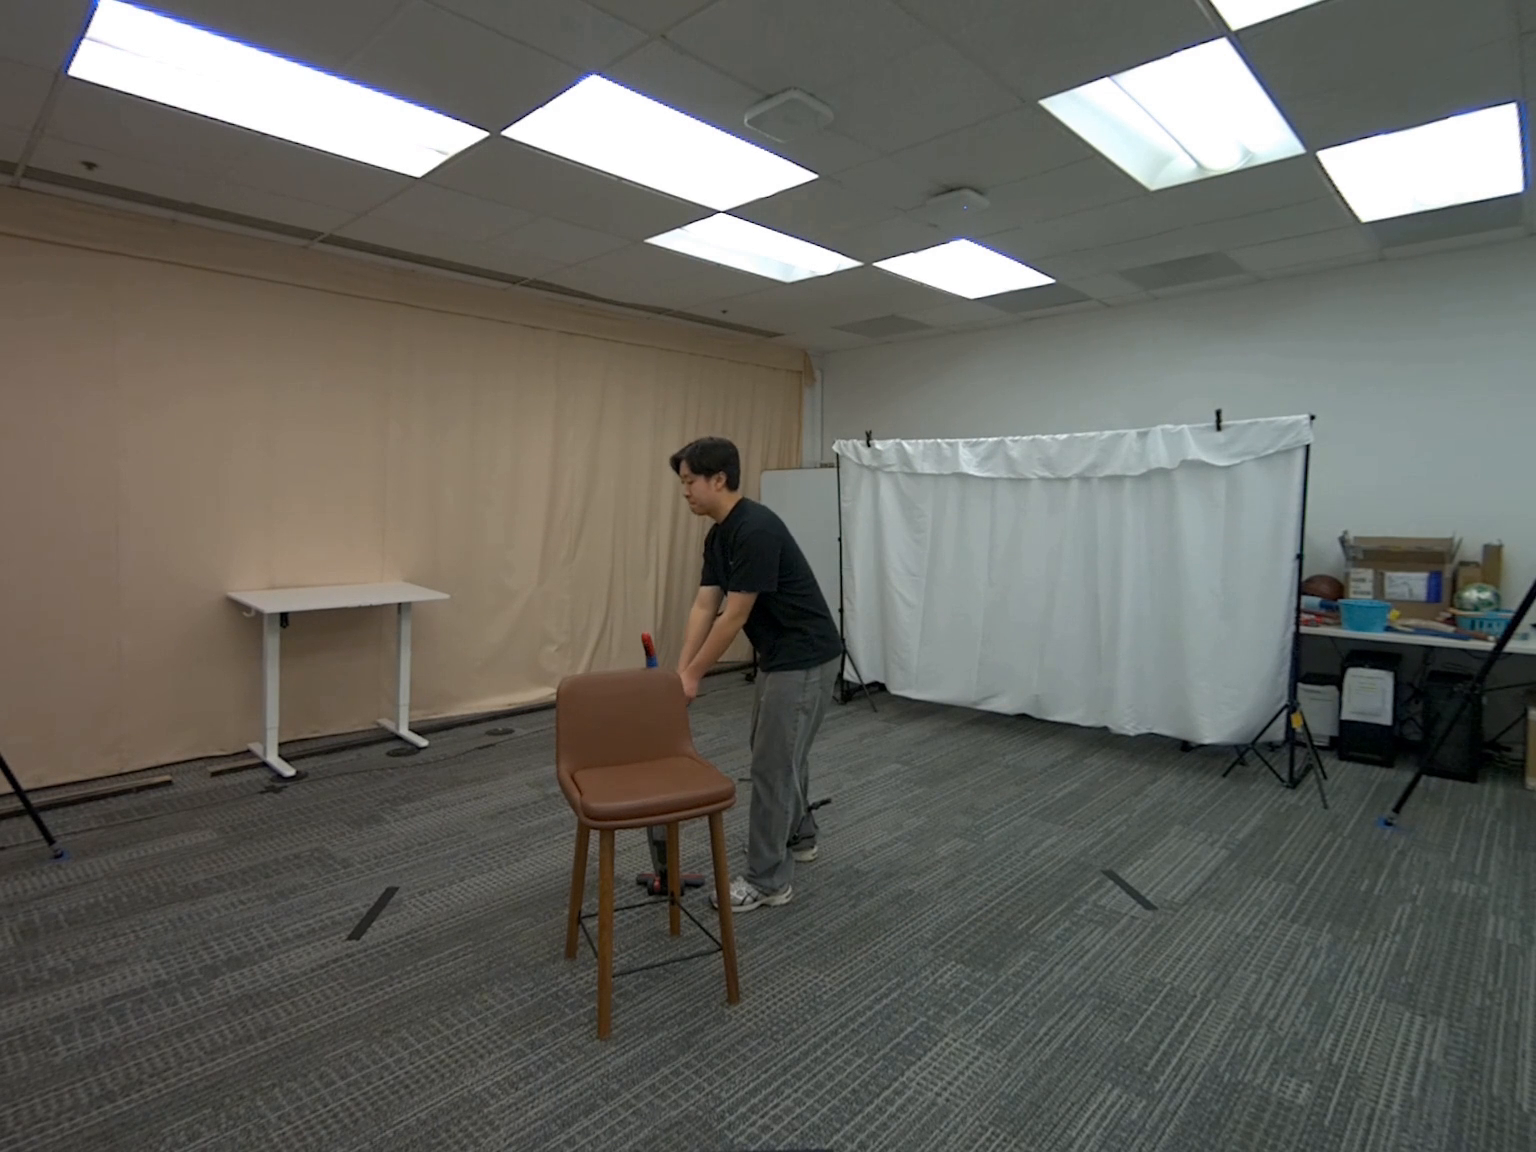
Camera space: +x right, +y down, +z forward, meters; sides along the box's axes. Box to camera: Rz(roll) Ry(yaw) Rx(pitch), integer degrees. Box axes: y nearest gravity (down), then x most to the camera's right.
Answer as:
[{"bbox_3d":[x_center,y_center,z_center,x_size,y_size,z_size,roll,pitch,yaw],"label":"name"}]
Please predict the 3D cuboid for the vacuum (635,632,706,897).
[{"bbox_3d":[-0.374,0.663,2.863,0.253,1.034,0.146,-1,23,1],"label":"vacuum"}]
